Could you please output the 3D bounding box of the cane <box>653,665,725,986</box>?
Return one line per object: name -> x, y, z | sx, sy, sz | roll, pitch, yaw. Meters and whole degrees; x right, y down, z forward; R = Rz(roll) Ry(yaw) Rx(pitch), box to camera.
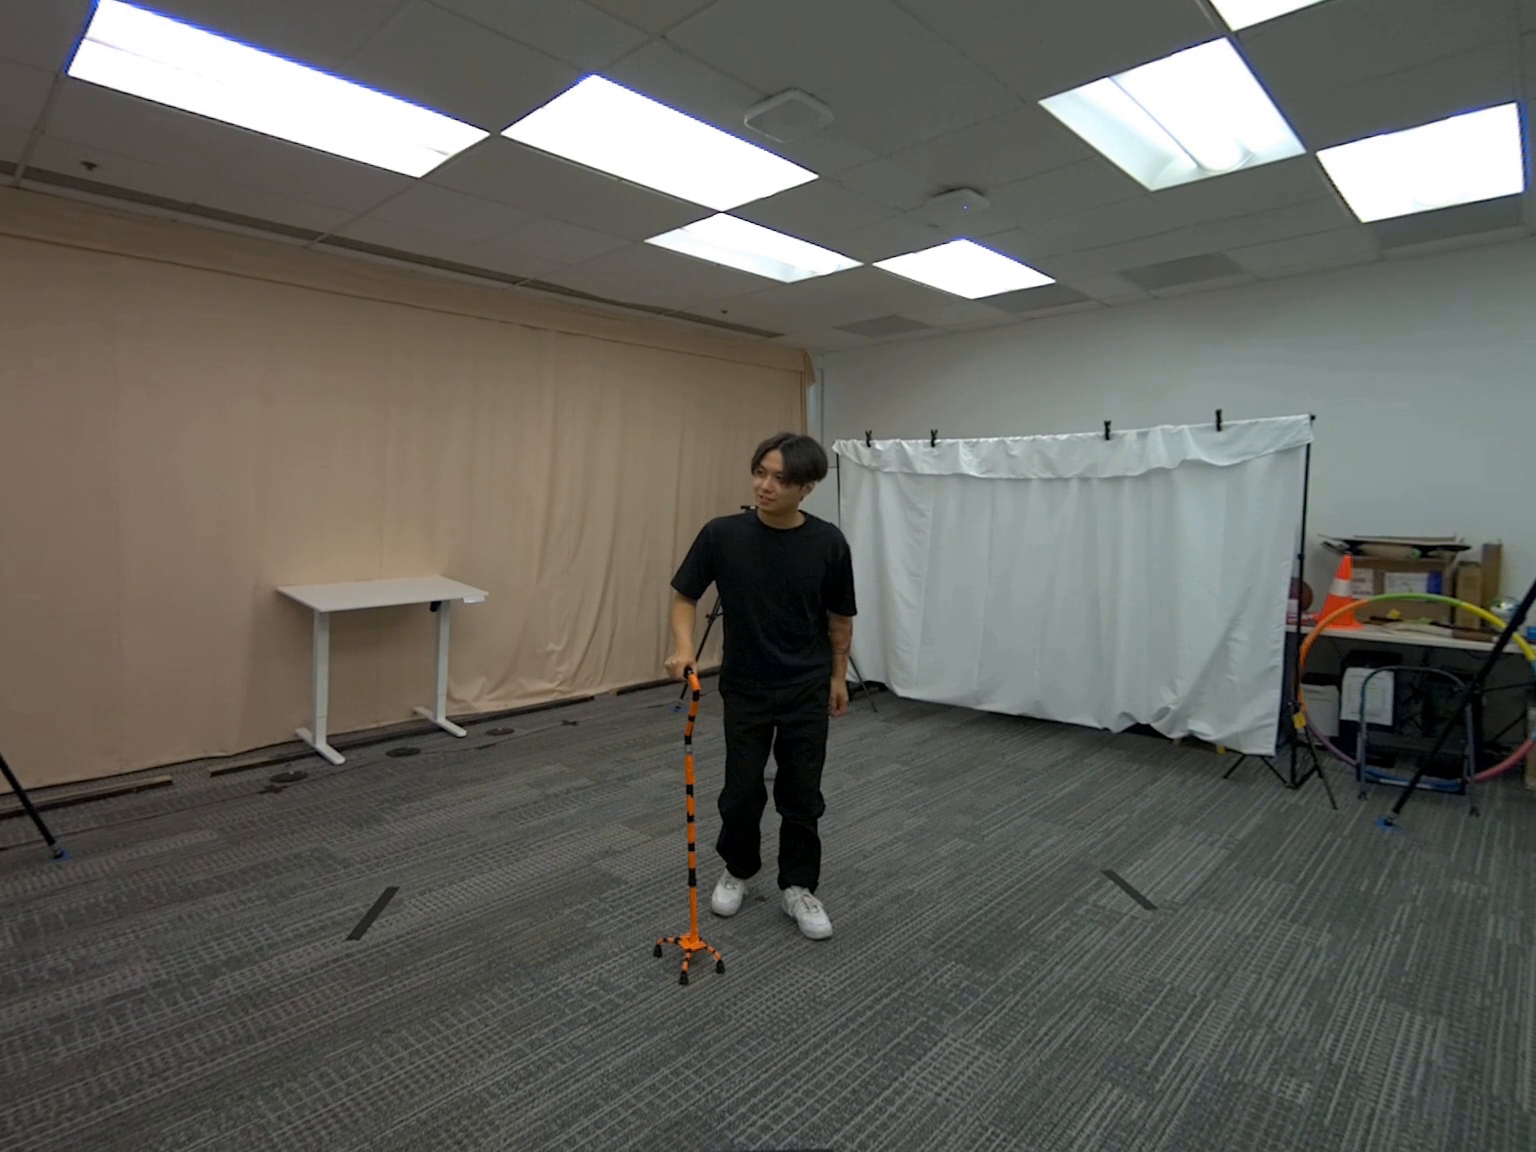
cane -> -0.242, 0.729, 2.540 | 0.147, 0.905, 0.213 | -3, 5, -32
